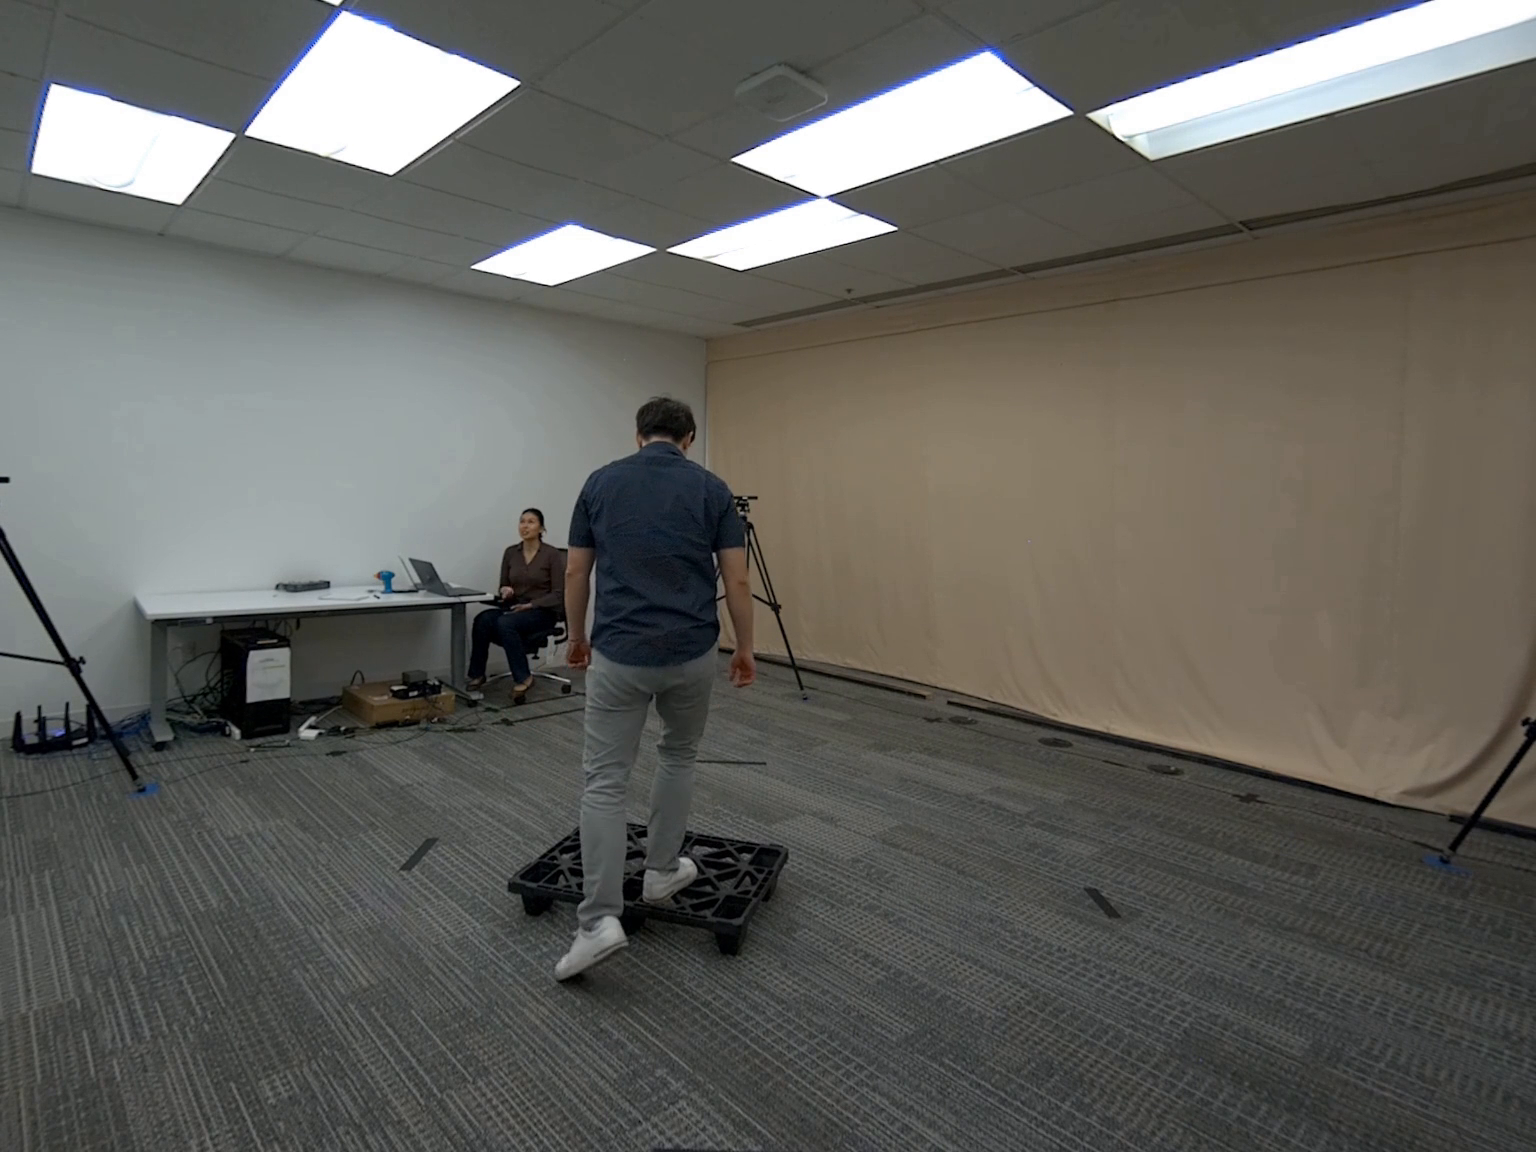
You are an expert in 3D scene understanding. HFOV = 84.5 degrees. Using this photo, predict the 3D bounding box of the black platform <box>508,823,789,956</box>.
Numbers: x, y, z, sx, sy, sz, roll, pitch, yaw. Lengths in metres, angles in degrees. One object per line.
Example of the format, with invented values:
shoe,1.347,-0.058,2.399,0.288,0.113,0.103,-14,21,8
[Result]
black platform,-0.388,1.051,2.877,0.817,0.143,0.599,3,6,17
